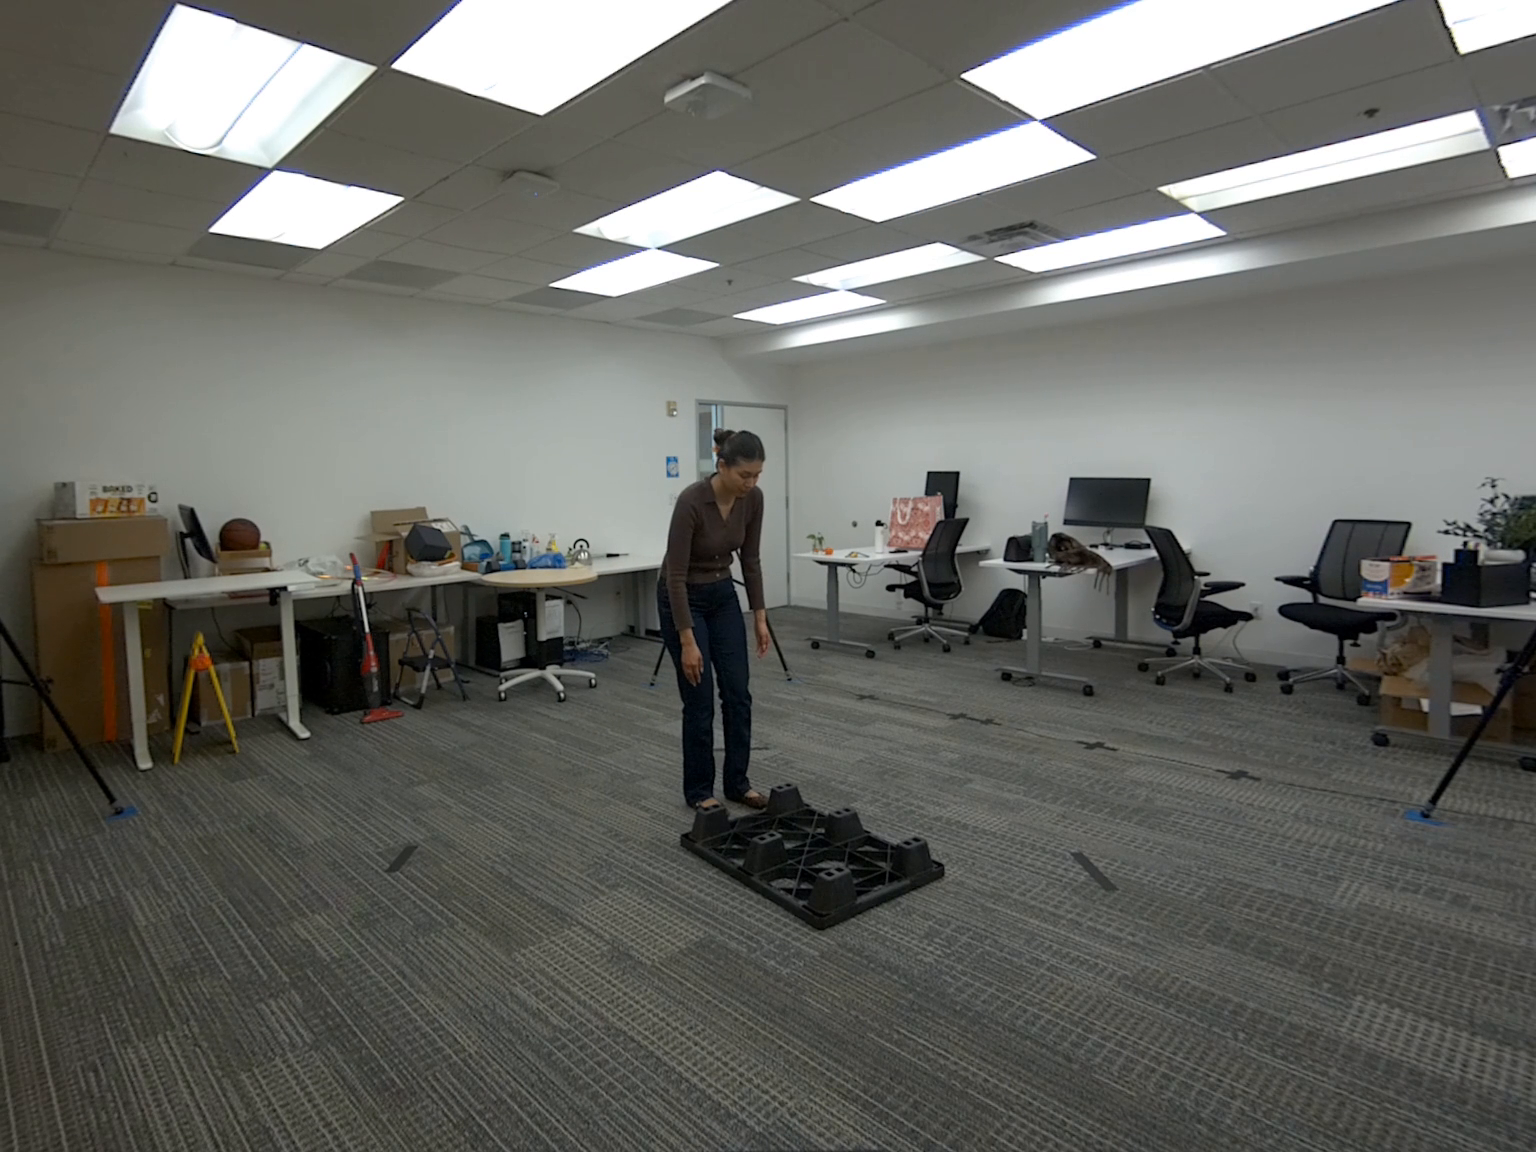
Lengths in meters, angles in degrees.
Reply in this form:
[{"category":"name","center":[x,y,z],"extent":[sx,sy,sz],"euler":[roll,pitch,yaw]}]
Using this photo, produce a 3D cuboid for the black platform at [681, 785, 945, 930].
[{"category":"black platform","center":[0.135,0.971,3.119],"extent":[0.589,0.143,0.830],"euler":[-5,7,-38]}]
